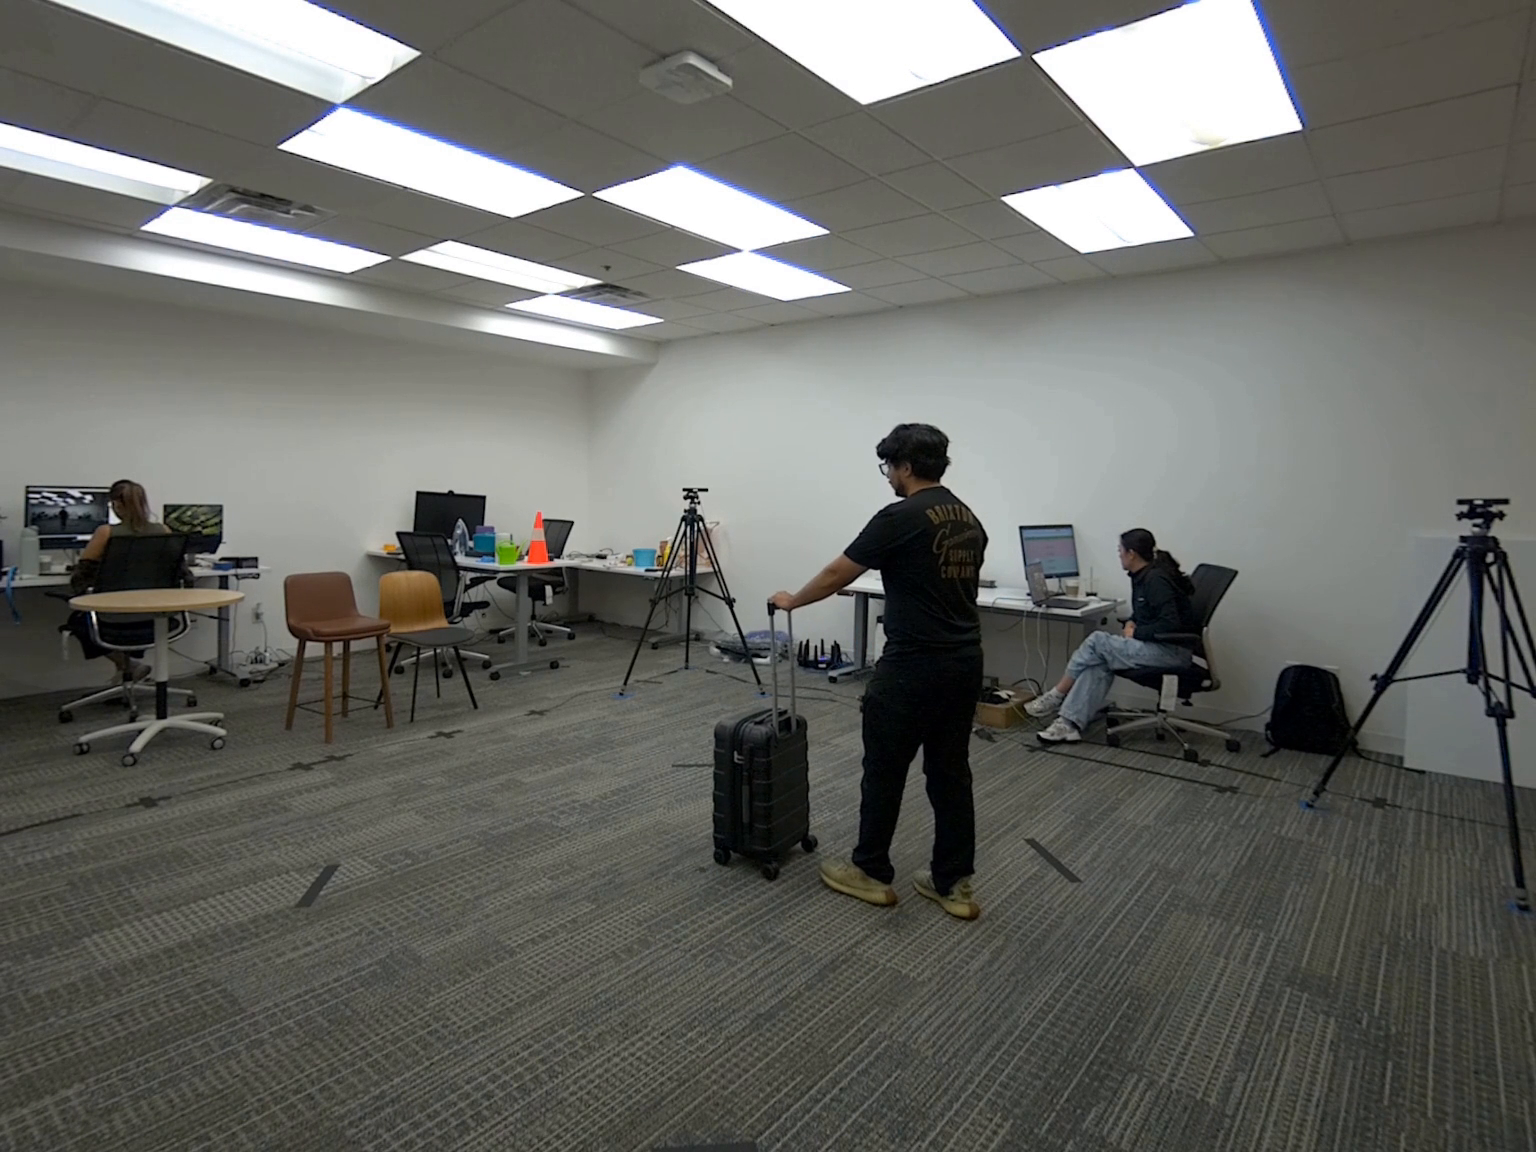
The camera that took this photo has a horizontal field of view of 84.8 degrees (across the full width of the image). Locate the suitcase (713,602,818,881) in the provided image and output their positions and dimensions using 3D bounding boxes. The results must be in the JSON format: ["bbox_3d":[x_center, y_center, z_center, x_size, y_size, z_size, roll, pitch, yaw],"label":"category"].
[{"bbox_3d":[-0.040,0.583,3.231,0.264,0.978,0.373,-2,0,33],"label":"suitcase"}]
